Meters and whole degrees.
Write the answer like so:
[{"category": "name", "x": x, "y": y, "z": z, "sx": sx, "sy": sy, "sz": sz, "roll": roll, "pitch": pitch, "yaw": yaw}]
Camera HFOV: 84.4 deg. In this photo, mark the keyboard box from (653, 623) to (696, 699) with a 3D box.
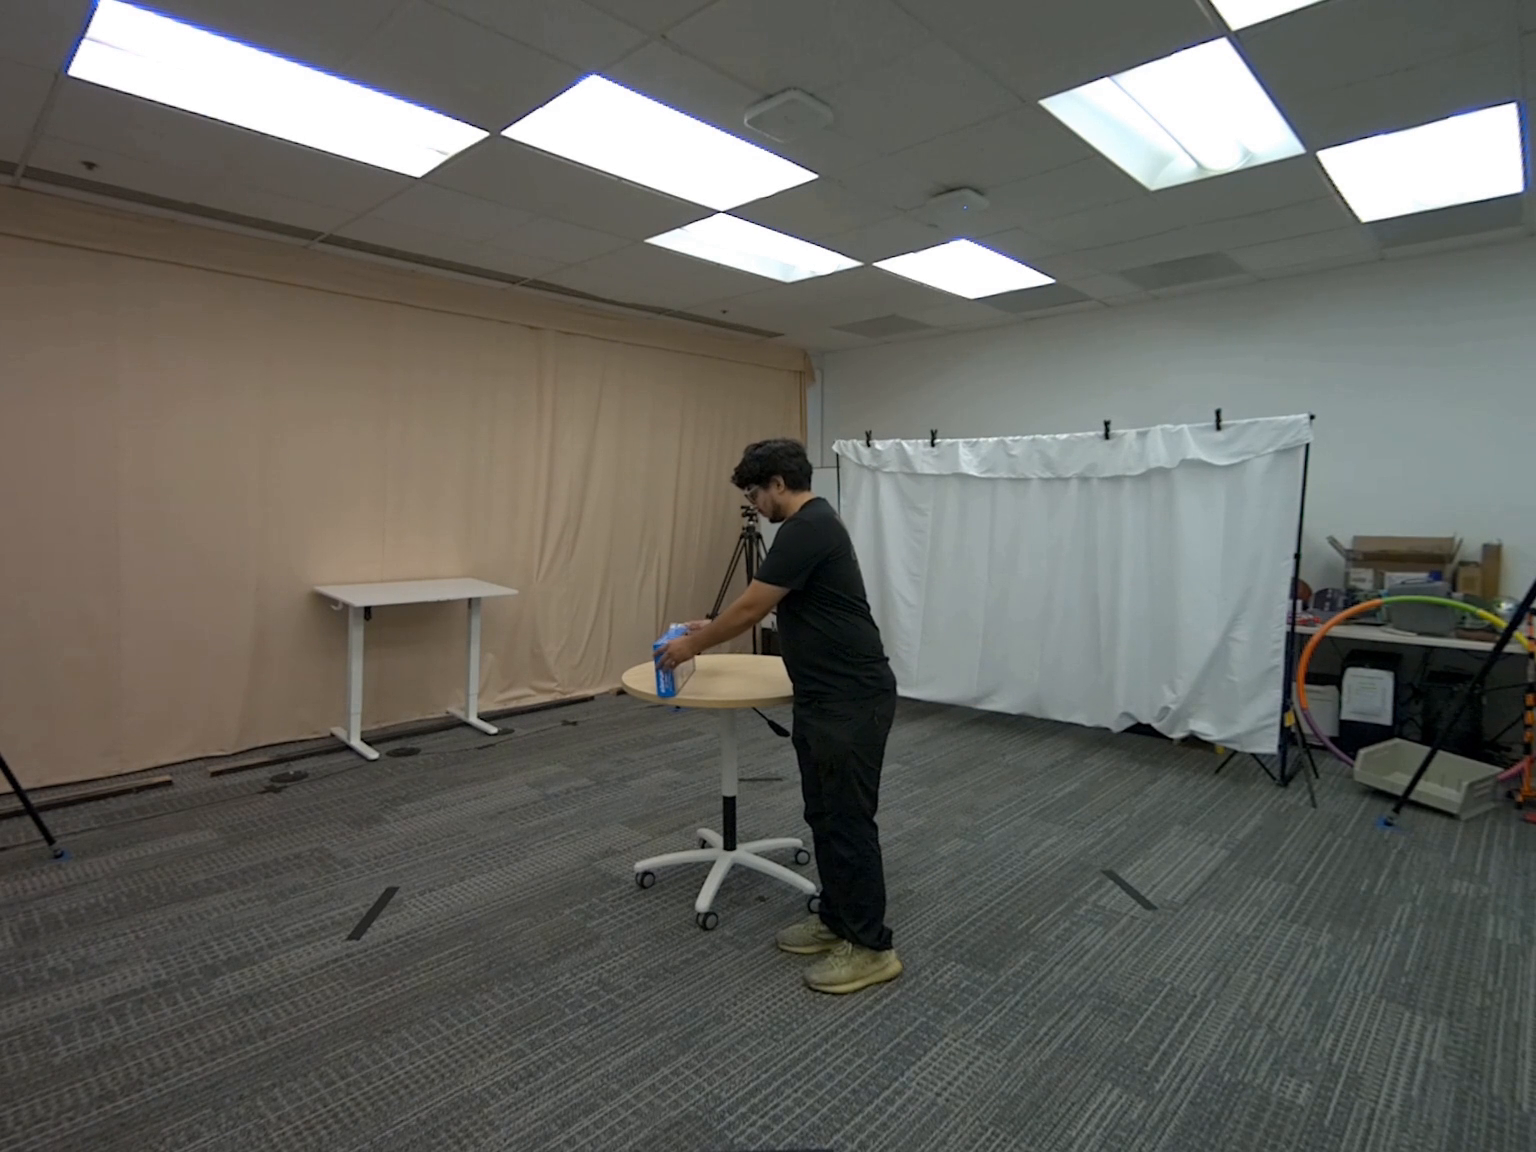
[{"category": "keyboard box", "x": -0.317, "y": 0.281, "z": 2.917, "sx": 0.059, "sy": 0.175, "sz": 0.435, "roll": -3, "pitch": 5, "yaw": 5}]
